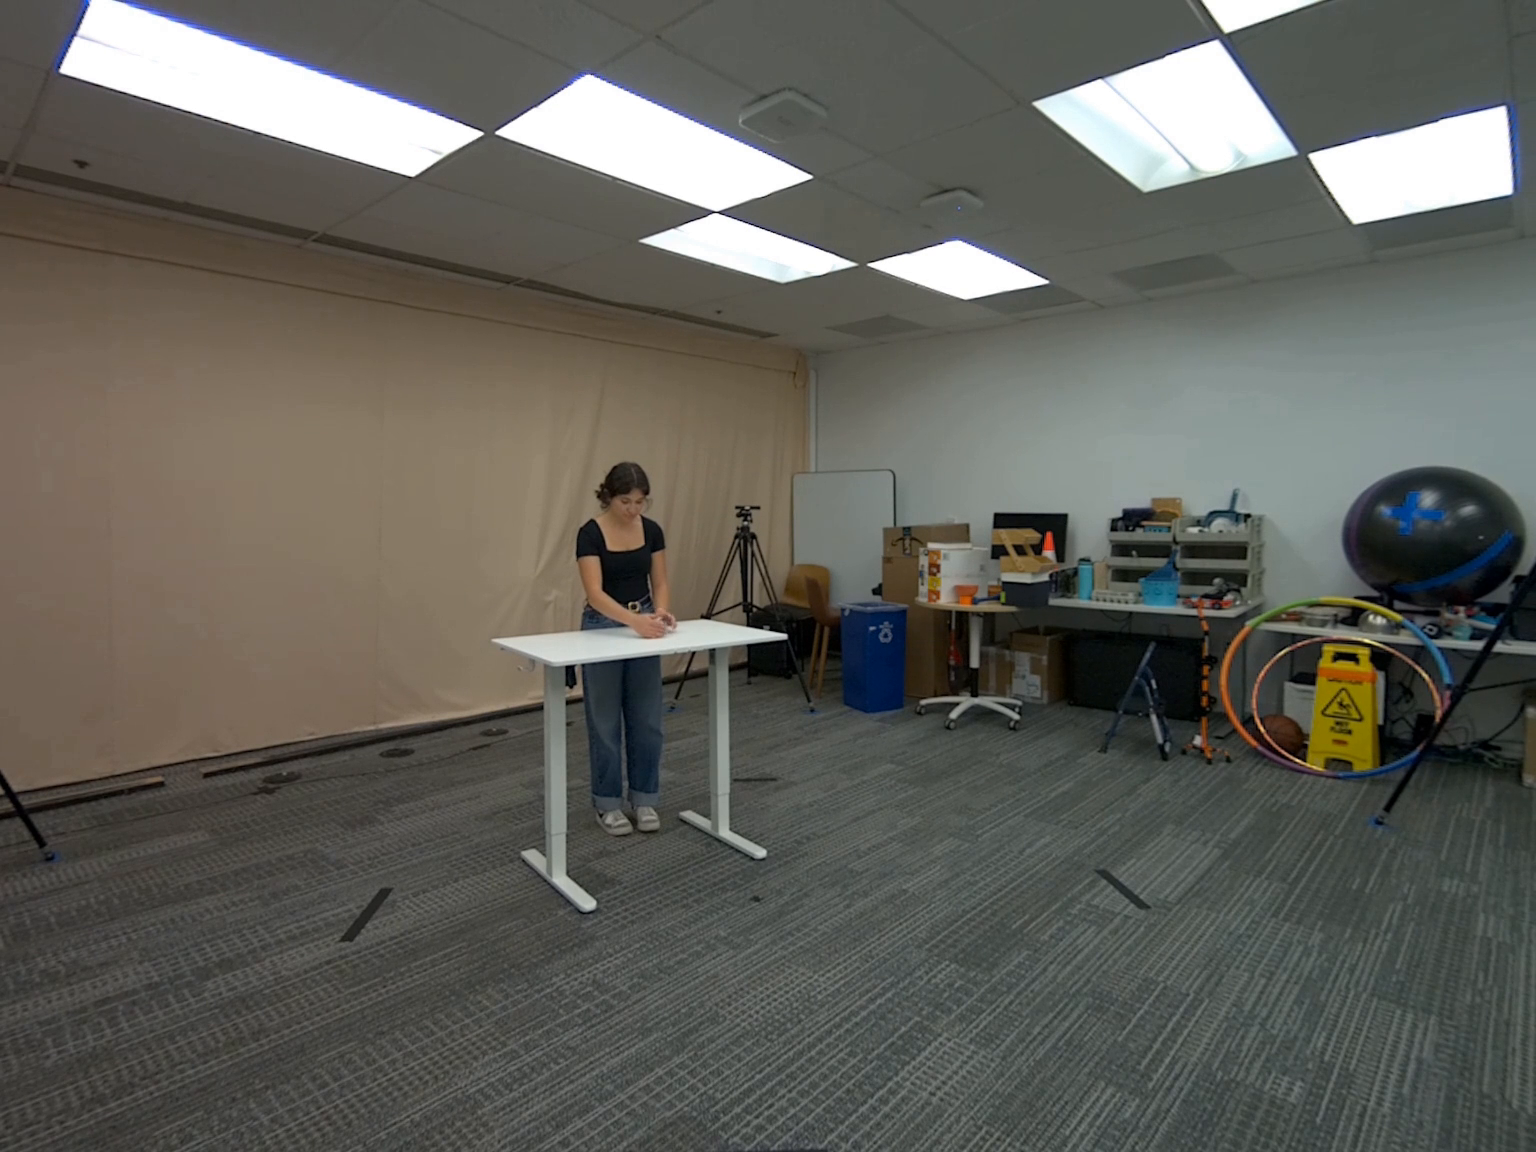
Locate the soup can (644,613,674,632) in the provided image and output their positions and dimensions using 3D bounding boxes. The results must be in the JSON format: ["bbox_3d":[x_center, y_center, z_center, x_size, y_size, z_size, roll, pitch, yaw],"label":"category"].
[{"bbox_3d":[-0.446,0.202,3.359,0.067,0.067,0.121,0,4,0],"label":"soup can"}]
